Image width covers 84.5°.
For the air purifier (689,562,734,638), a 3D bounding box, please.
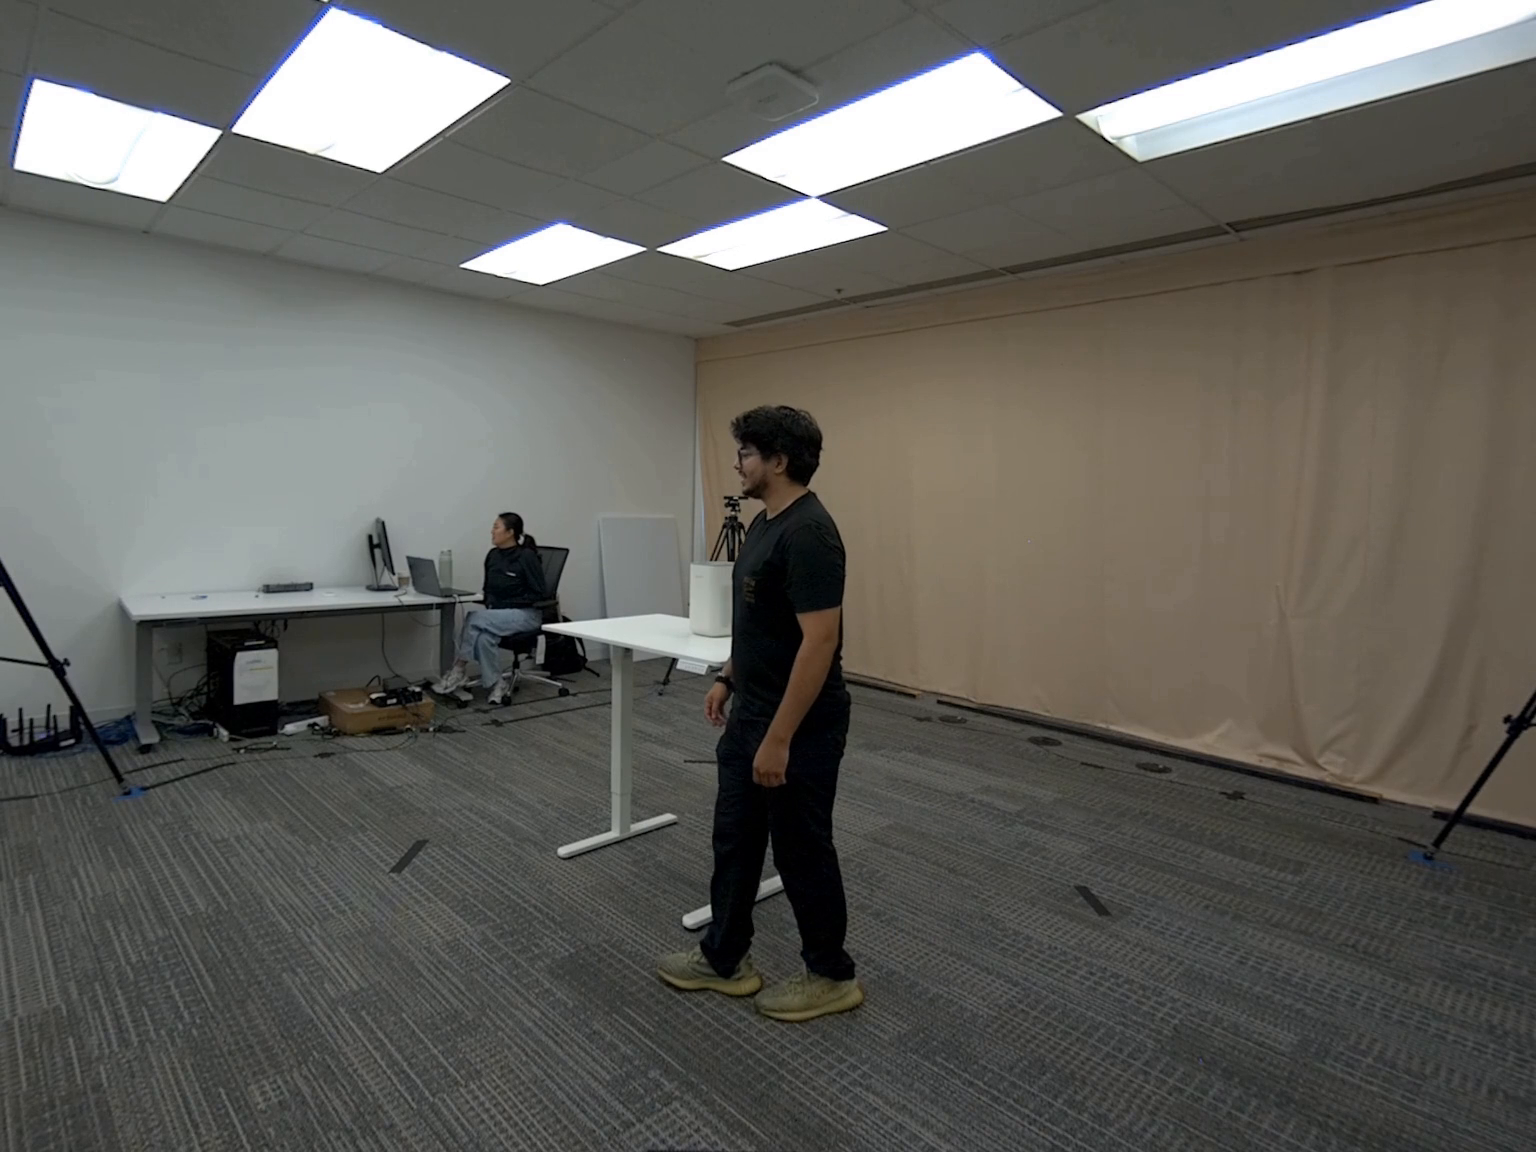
[{"bbox_3d":[-0.200,0.085,3.126,0.168,0.265,0.175,-3,4,-45],"label":"air purifier"}]
